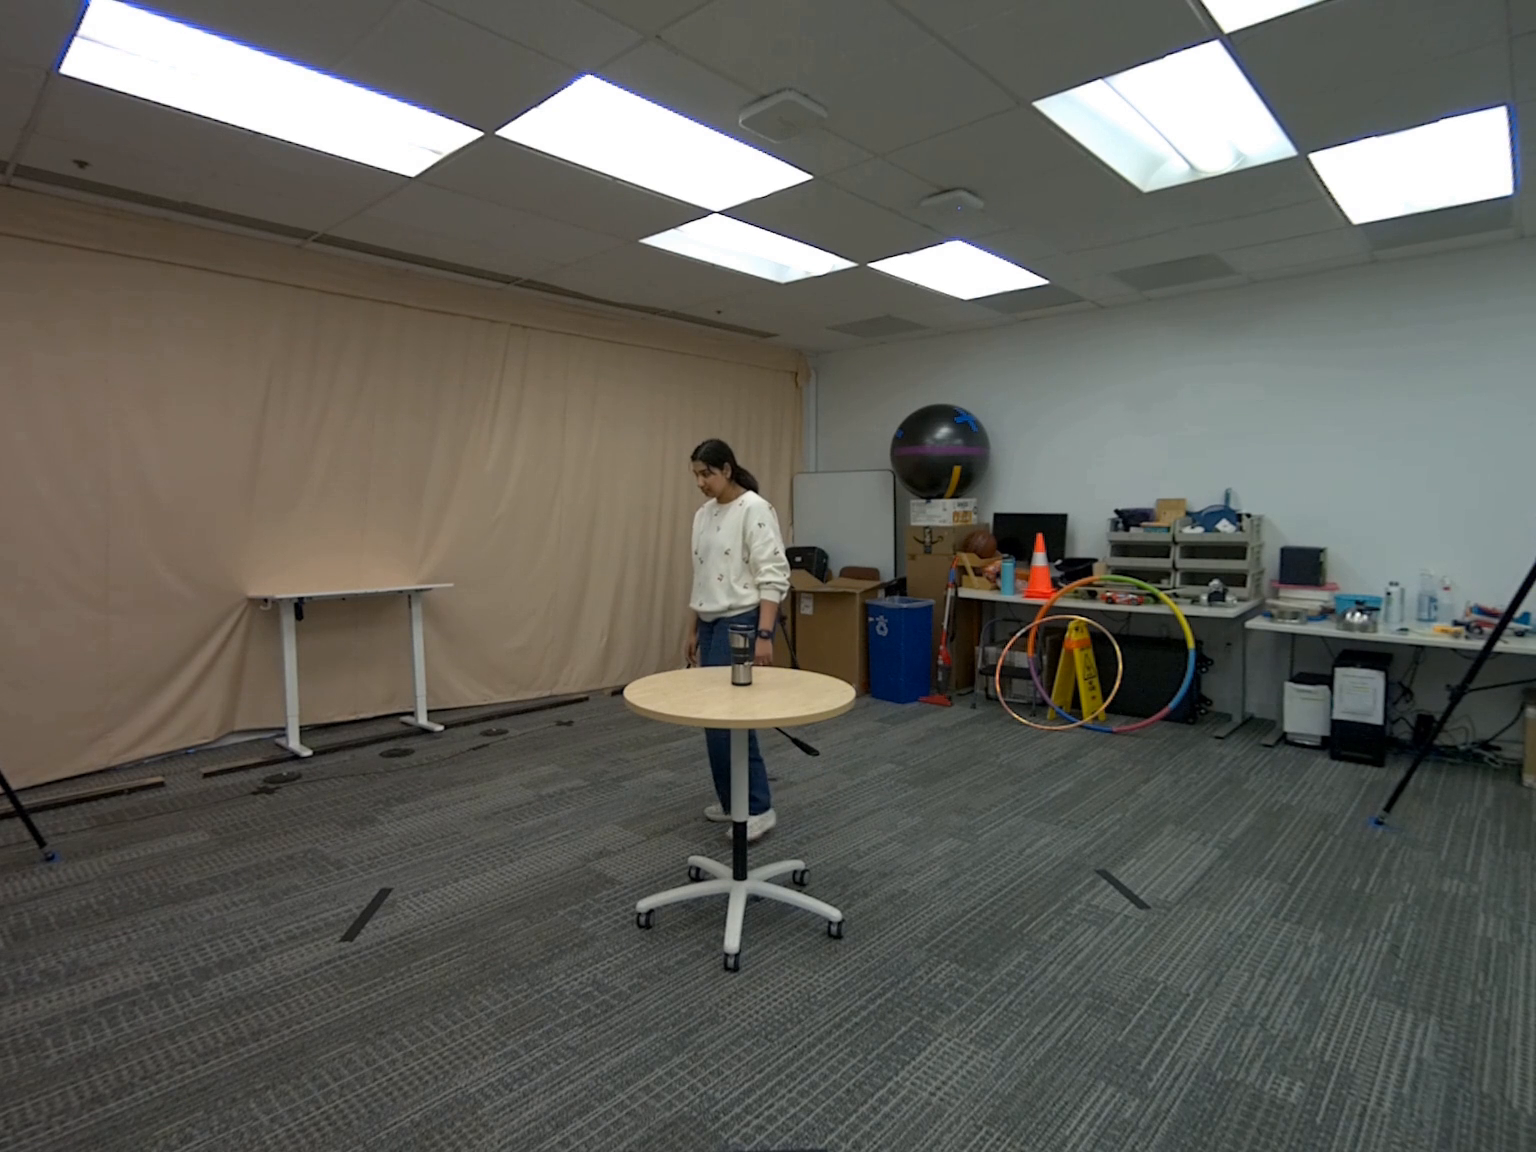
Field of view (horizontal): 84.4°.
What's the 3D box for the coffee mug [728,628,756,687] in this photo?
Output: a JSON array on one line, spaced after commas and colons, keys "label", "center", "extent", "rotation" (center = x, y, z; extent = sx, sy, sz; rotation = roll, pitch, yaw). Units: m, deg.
[{"label": "coffee mug", "center": [-0.106, 0.271, 2.859], "extent": [0.091, 0.203, 0.118], "rotation": [4, 2, 36]}]
